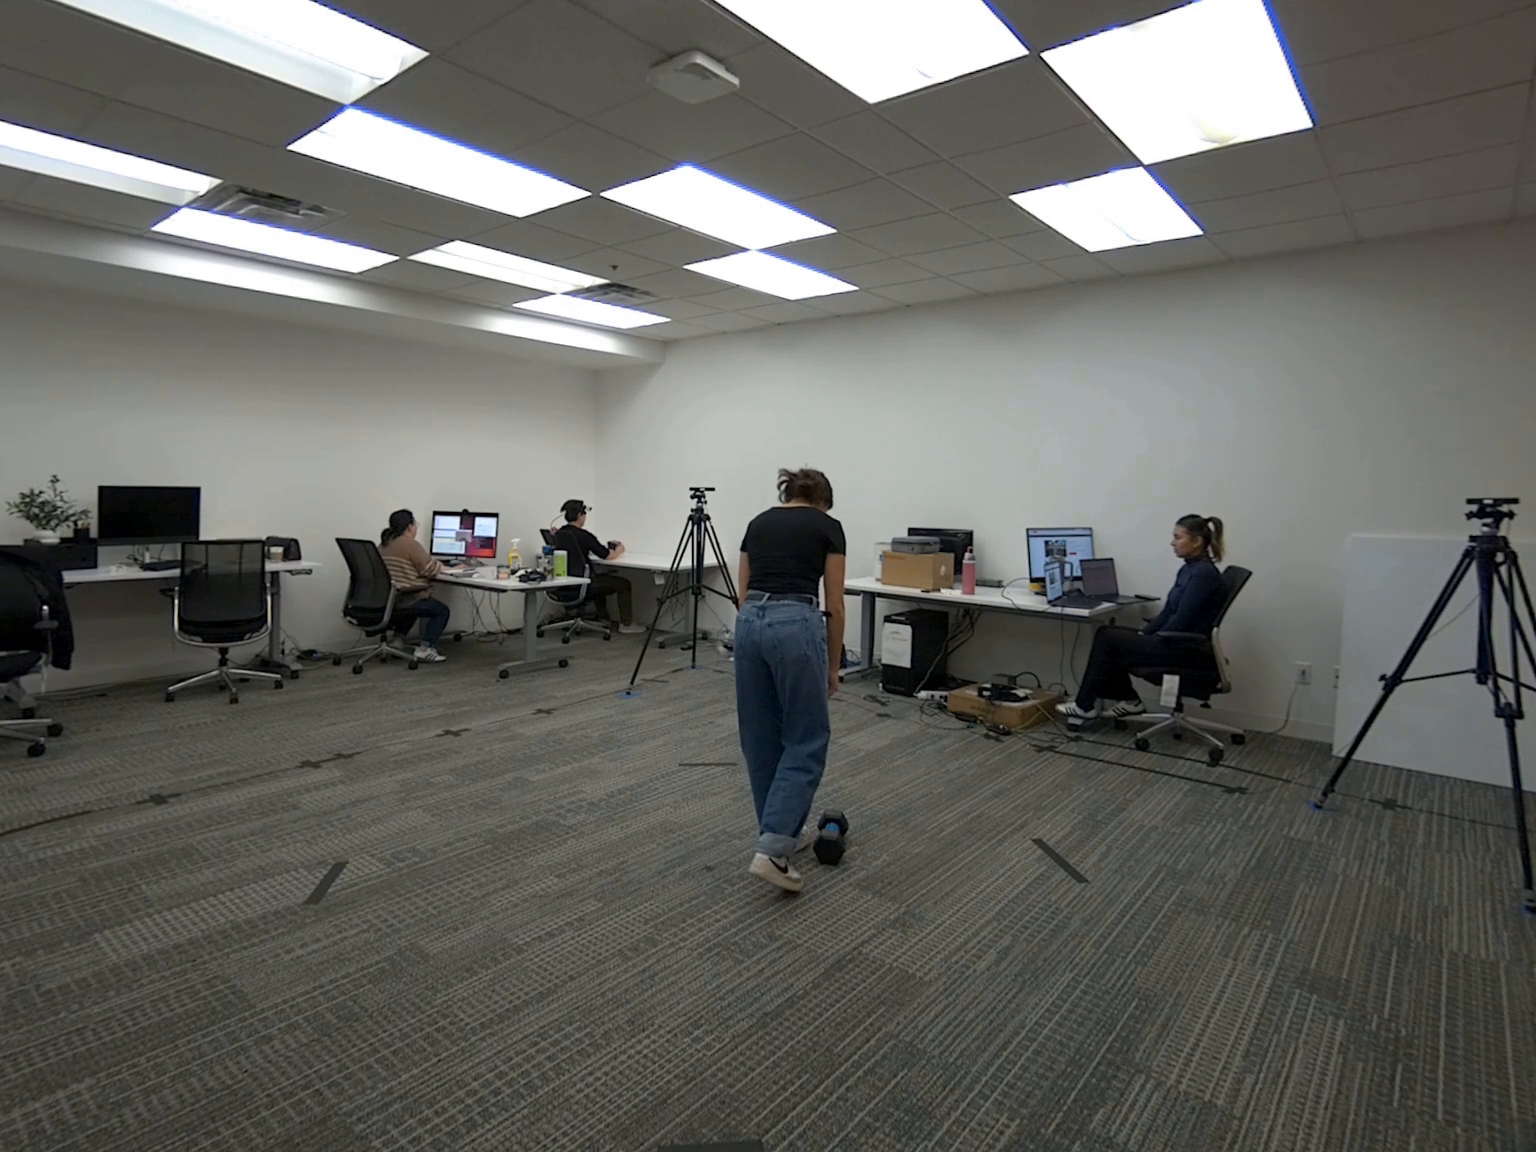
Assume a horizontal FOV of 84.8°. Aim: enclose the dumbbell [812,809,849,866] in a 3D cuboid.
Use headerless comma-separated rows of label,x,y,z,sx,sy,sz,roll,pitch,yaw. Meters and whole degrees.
dumbbell,0.236,1.004,3.298,0.110,0.122,0.291,31,9,5
